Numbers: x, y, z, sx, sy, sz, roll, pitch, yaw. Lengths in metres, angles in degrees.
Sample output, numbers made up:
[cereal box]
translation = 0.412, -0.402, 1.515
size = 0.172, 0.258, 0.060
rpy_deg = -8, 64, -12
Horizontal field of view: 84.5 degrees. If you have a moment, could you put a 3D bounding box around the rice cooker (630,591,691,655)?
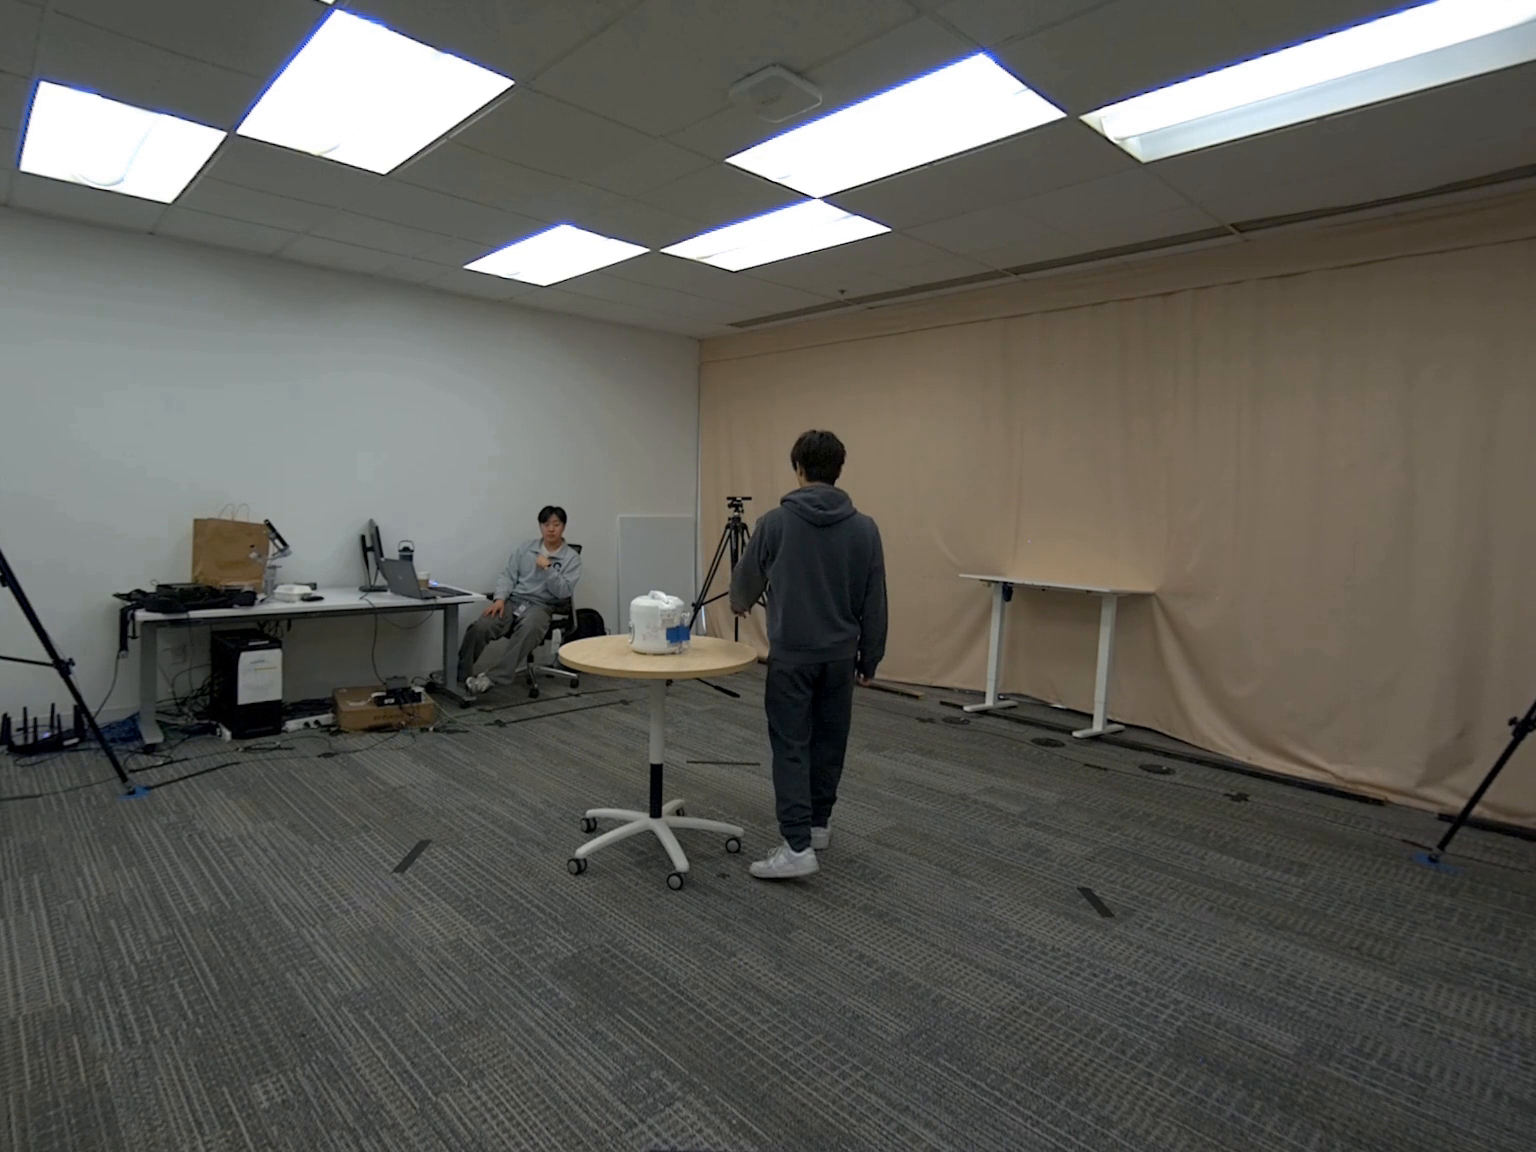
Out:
[rice cooker]
translation = -0.430, 0.174, 3.234
size = 0.213, 0.232, 0.225
rpy_deg = 0, 4, -27
